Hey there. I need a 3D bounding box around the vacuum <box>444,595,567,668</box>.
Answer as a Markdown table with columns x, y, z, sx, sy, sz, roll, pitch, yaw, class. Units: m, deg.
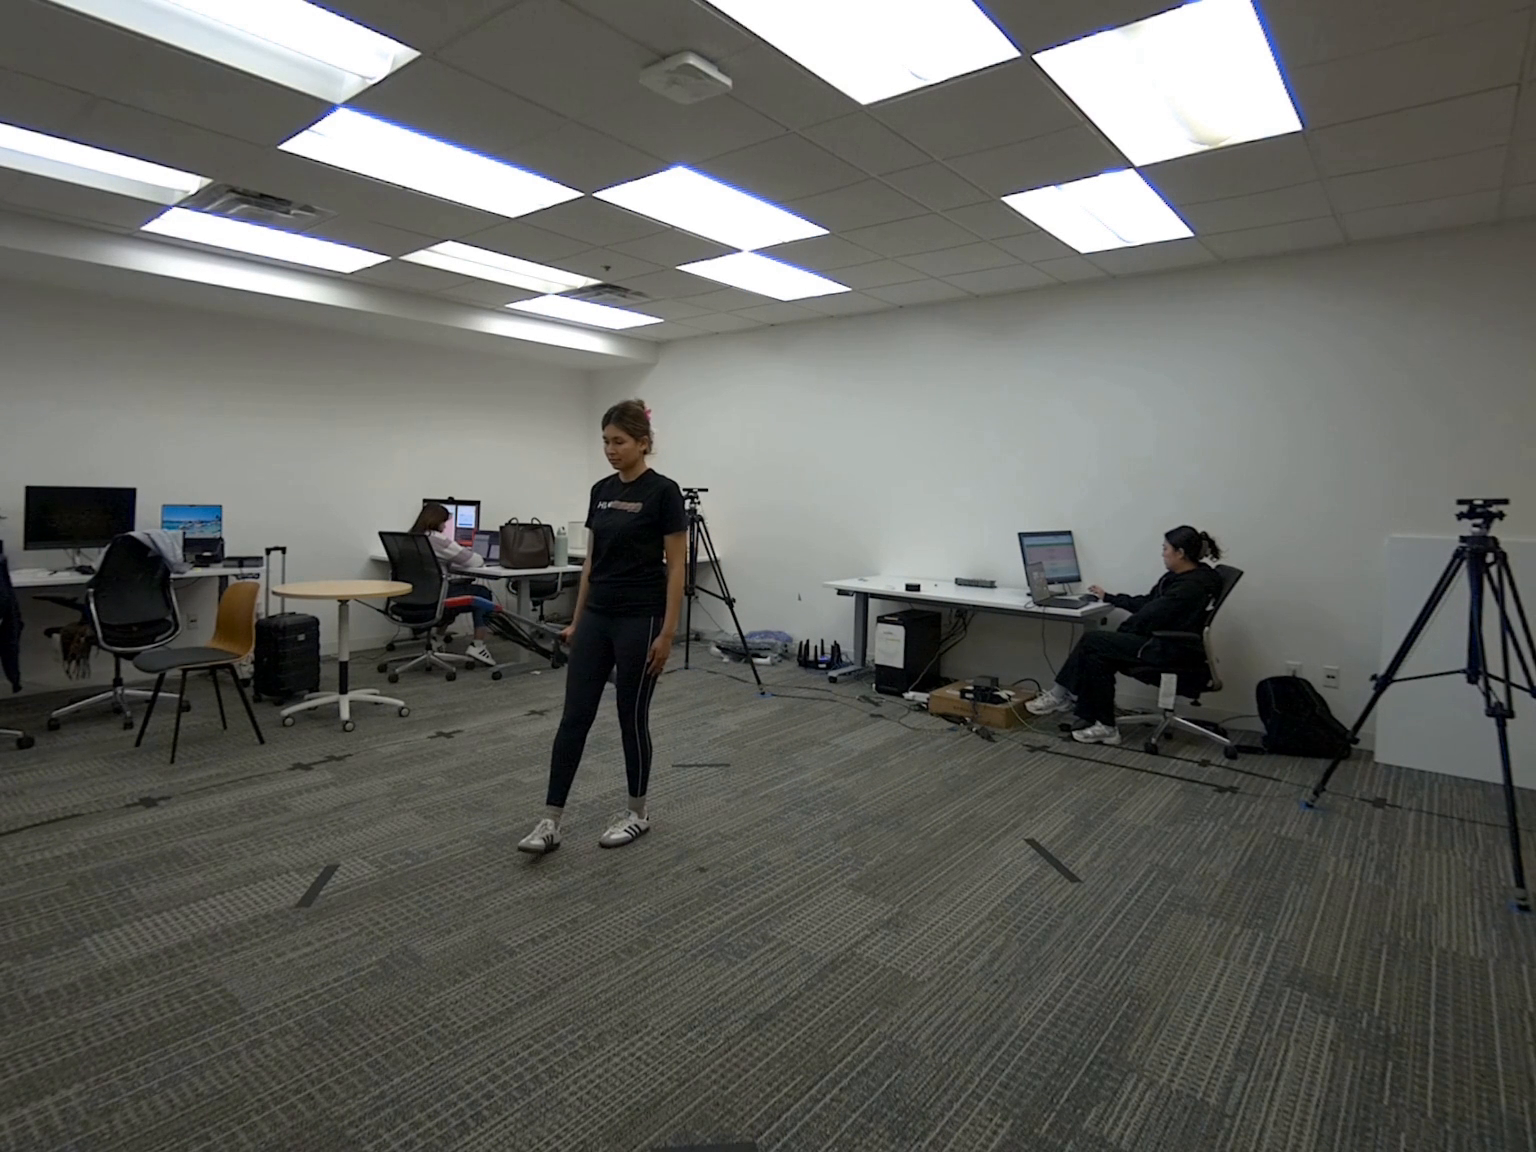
| x | y | z | sx | sy | sz | roll | pitch | yaw | class |
| --- | --- | --- | --- | --- | --- | --- | --- | --- | --- |
| -0.906 | 0.270 | 3.396 | 0.261 | 0.145 | 1.006 | 7 | -16 | 38 | vacuum |
